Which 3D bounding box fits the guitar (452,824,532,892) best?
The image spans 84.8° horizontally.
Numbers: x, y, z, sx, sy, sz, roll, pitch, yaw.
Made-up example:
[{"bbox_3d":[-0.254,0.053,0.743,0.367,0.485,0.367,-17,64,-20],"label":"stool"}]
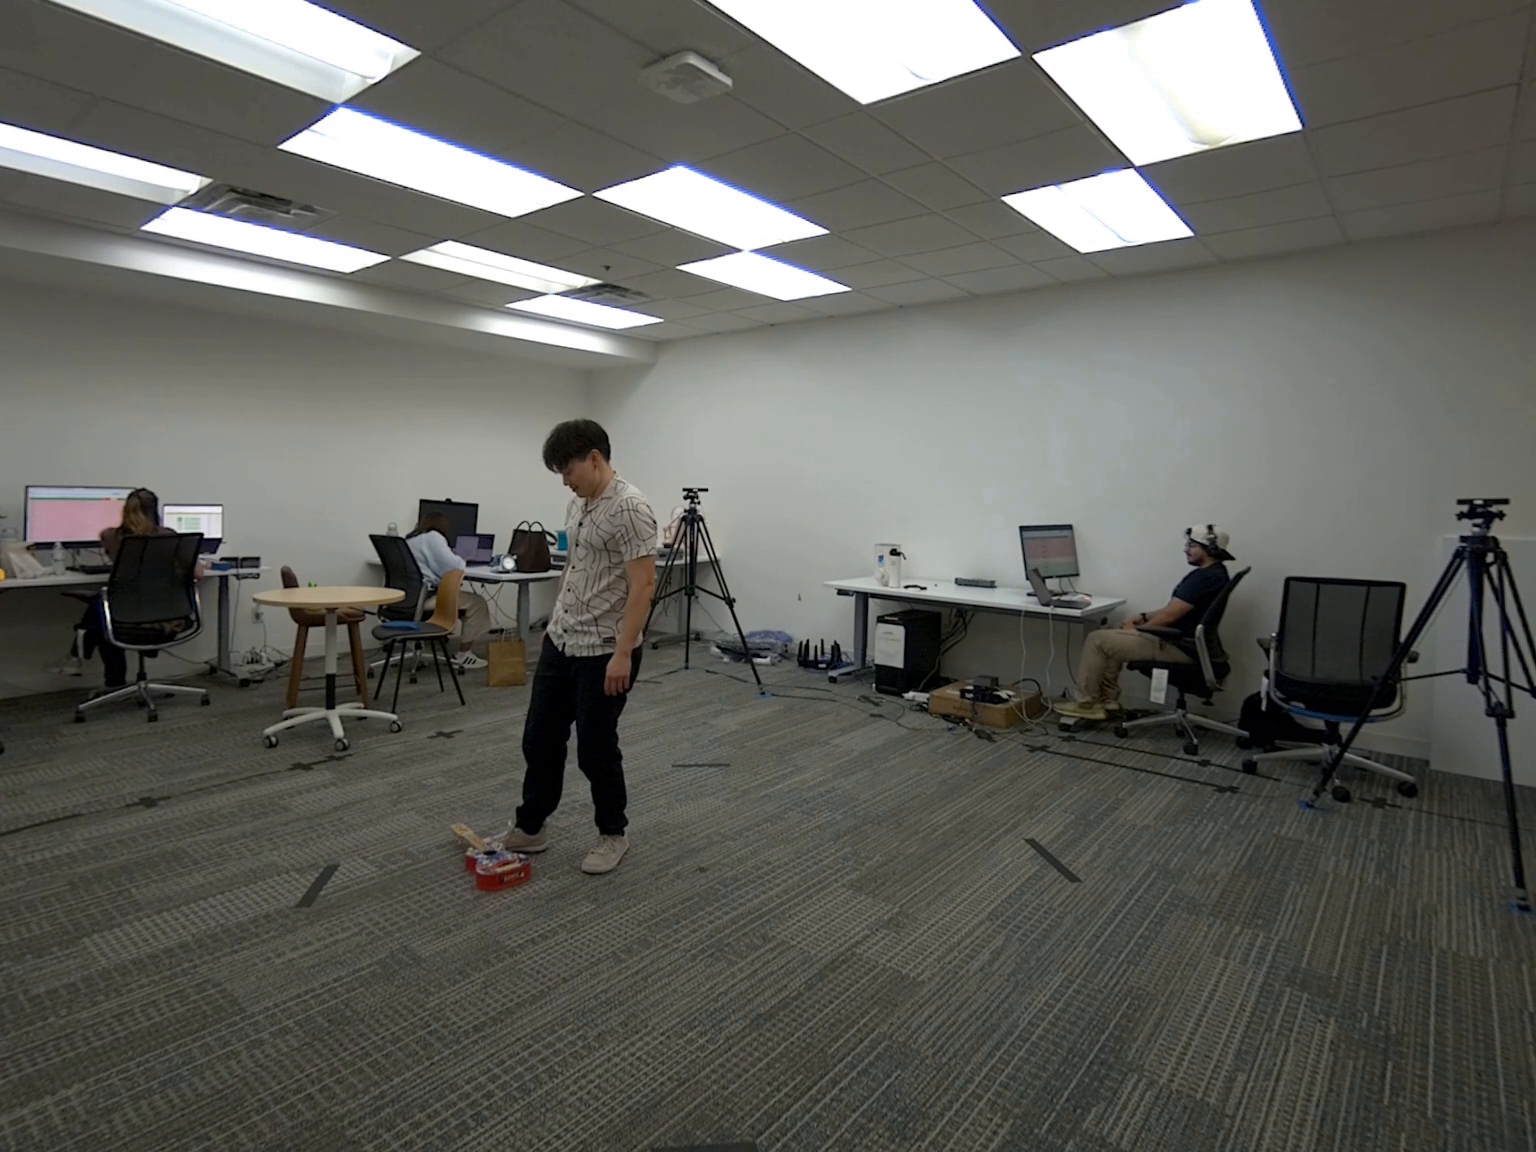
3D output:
[{"bbox_3d":[-1.045,1.016,3.152,0.188,0.070,0.514,-4,8,-32],"label":"guitar"}]
